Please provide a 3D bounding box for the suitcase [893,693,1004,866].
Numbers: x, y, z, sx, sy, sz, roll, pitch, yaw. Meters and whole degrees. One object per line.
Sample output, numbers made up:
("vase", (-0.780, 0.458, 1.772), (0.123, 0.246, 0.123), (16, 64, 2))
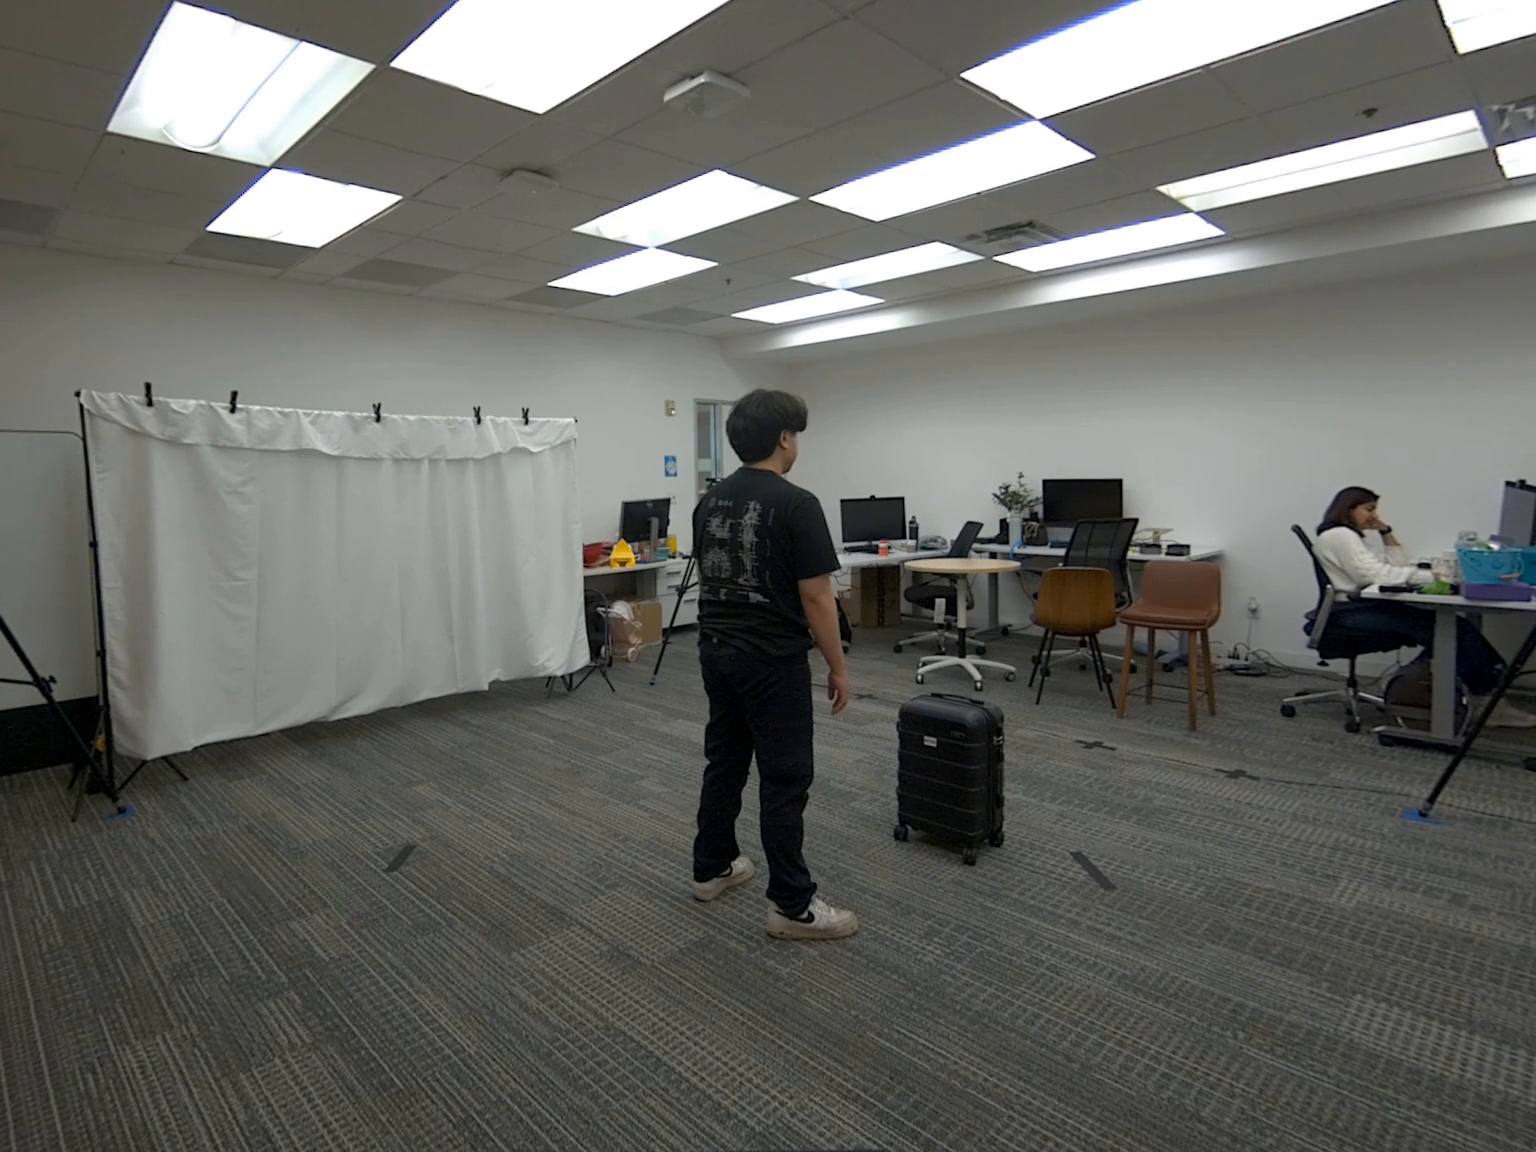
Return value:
("suitcase", (0.700, 0.737, 3.250), (0.387, 0.548, 0.241), (3, 4, 44))
